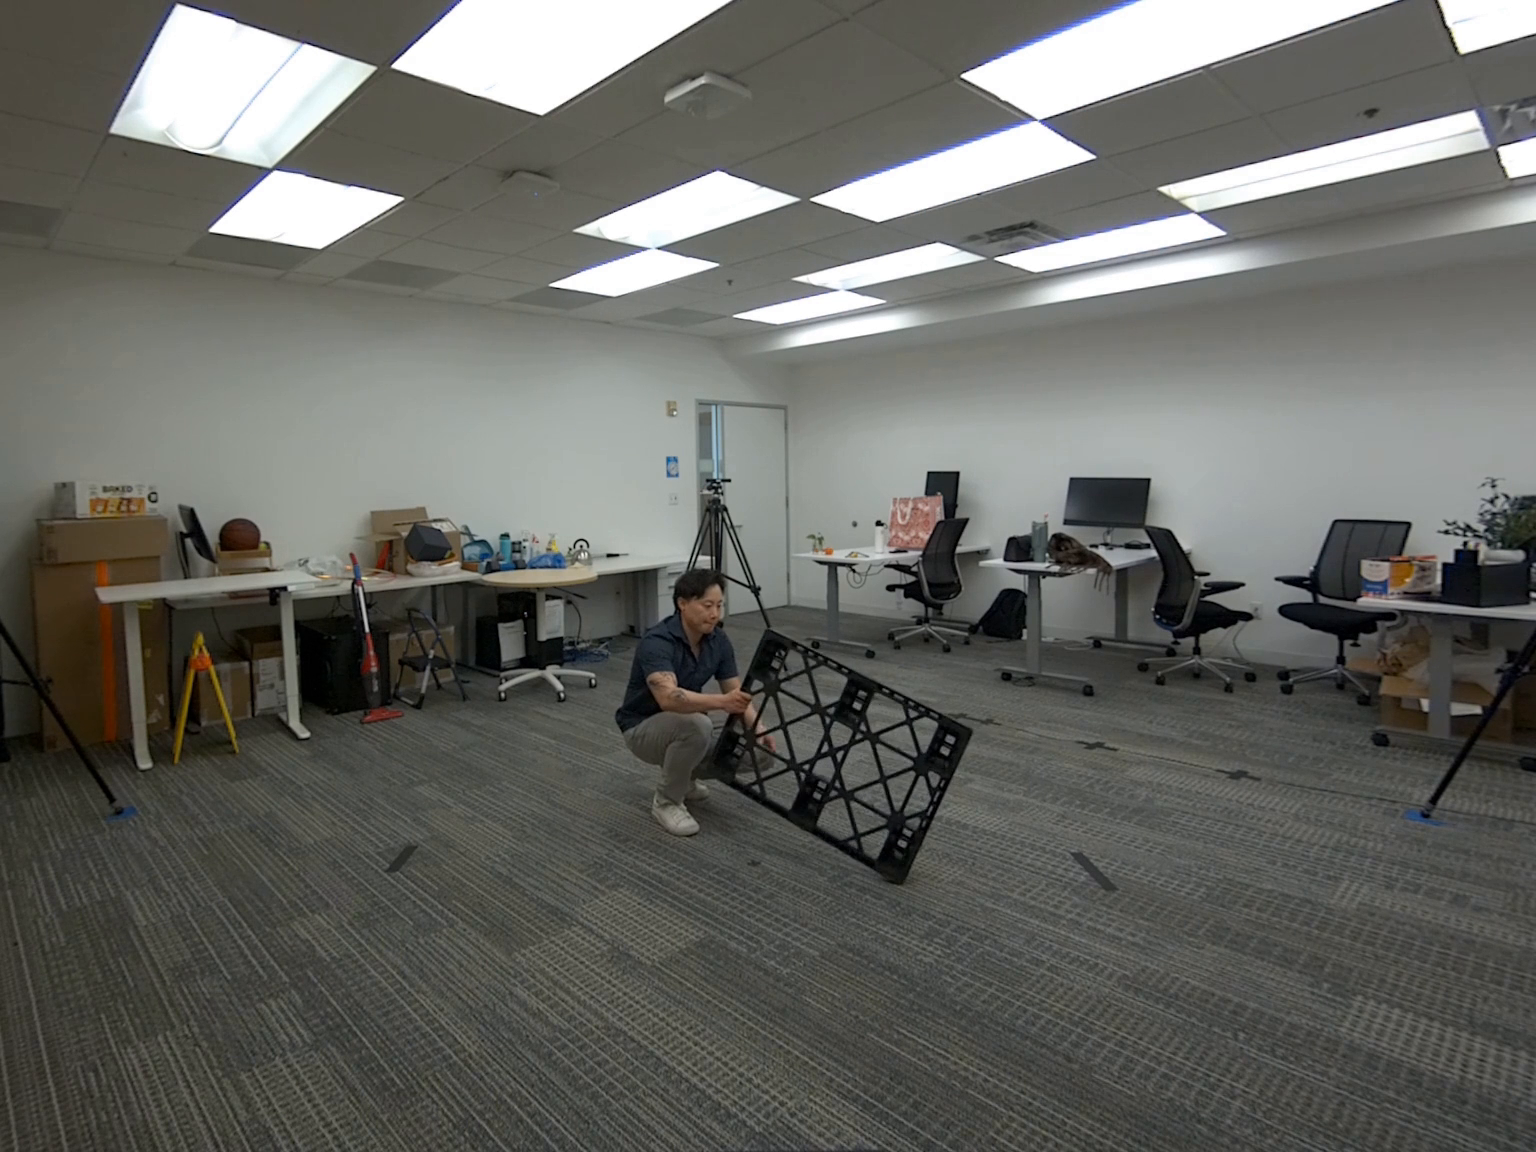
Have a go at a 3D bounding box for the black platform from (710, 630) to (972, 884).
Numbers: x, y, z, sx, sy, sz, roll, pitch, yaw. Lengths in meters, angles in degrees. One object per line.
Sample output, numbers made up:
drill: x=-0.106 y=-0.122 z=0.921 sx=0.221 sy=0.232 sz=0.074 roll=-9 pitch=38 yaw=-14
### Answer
black platform: x=0.245 y=0.622 z=3.080 sx=0.825 sy=0.603 sz=0.140 roll=25 pitch=6 yaw=19
